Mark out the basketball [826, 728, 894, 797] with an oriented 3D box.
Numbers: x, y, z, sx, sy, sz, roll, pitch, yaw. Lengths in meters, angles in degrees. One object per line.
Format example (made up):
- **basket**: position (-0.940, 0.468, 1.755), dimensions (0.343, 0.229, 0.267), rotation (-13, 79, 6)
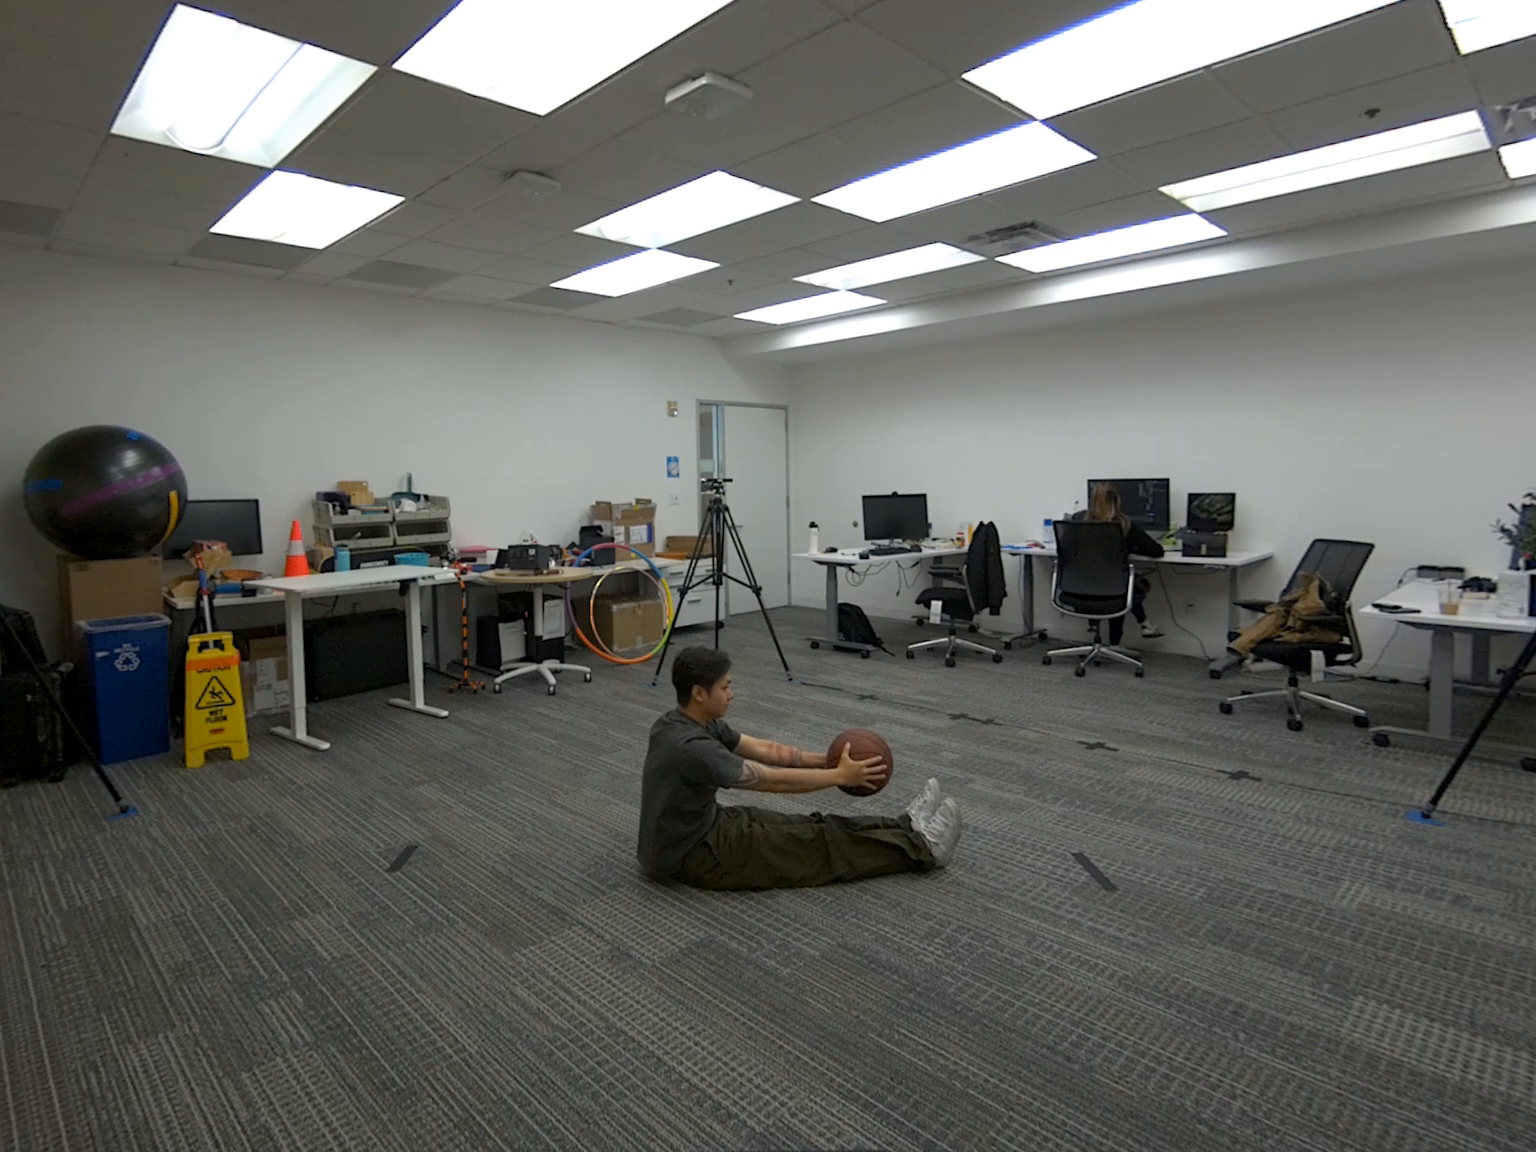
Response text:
- **basketball**: position (0.329, 0.668, 3.082), dimensions (0.236, 0.235, 0.237), rotation (-1, 5, -2)
